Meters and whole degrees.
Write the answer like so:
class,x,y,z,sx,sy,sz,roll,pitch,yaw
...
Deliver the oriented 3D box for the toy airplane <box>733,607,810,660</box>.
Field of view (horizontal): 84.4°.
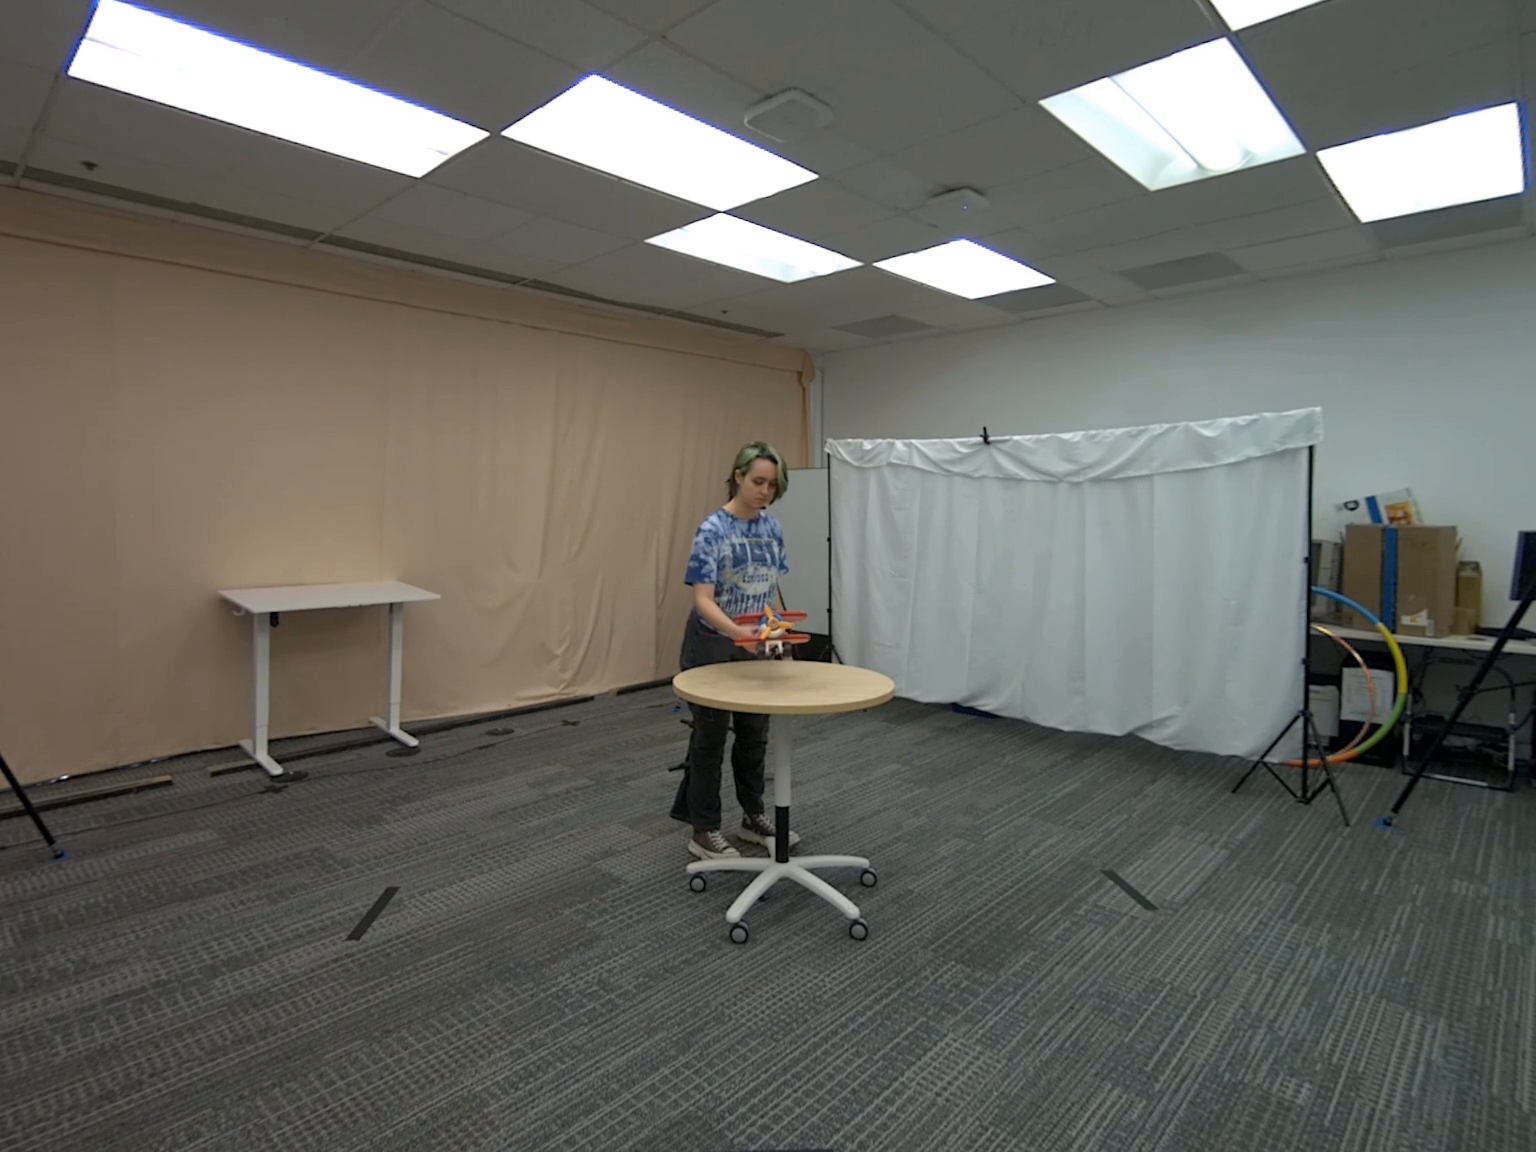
class,x,y,z,sx,sy,sz,roll,pitch,yaw
toy airplane,-0.008,0.209,2.897,0.244,0.157,0.266,0,-4,-31
